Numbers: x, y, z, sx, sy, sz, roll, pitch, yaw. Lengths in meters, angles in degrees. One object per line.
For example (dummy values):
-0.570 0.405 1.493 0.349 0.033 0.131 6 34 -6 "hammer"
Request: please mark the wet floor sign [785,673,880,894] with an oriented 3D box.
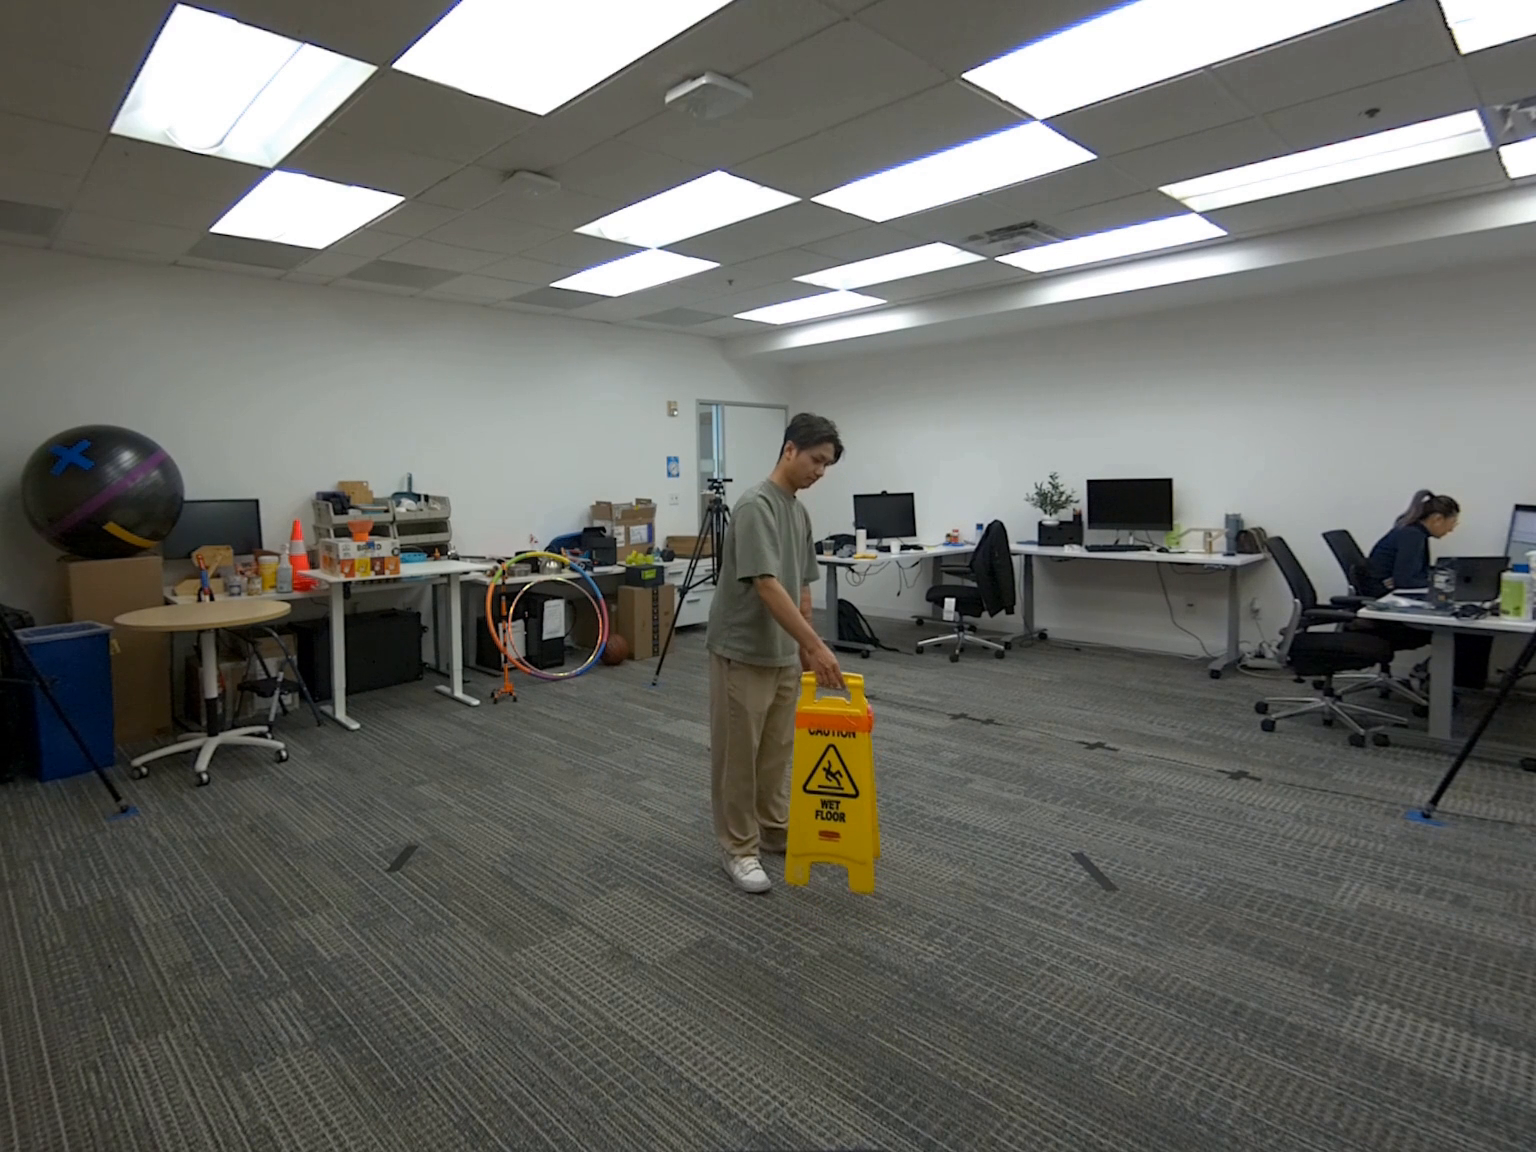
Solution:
0.222 0.643 2.745 0.286 0.642 0.287 1 6 14 "wet floor sign"
